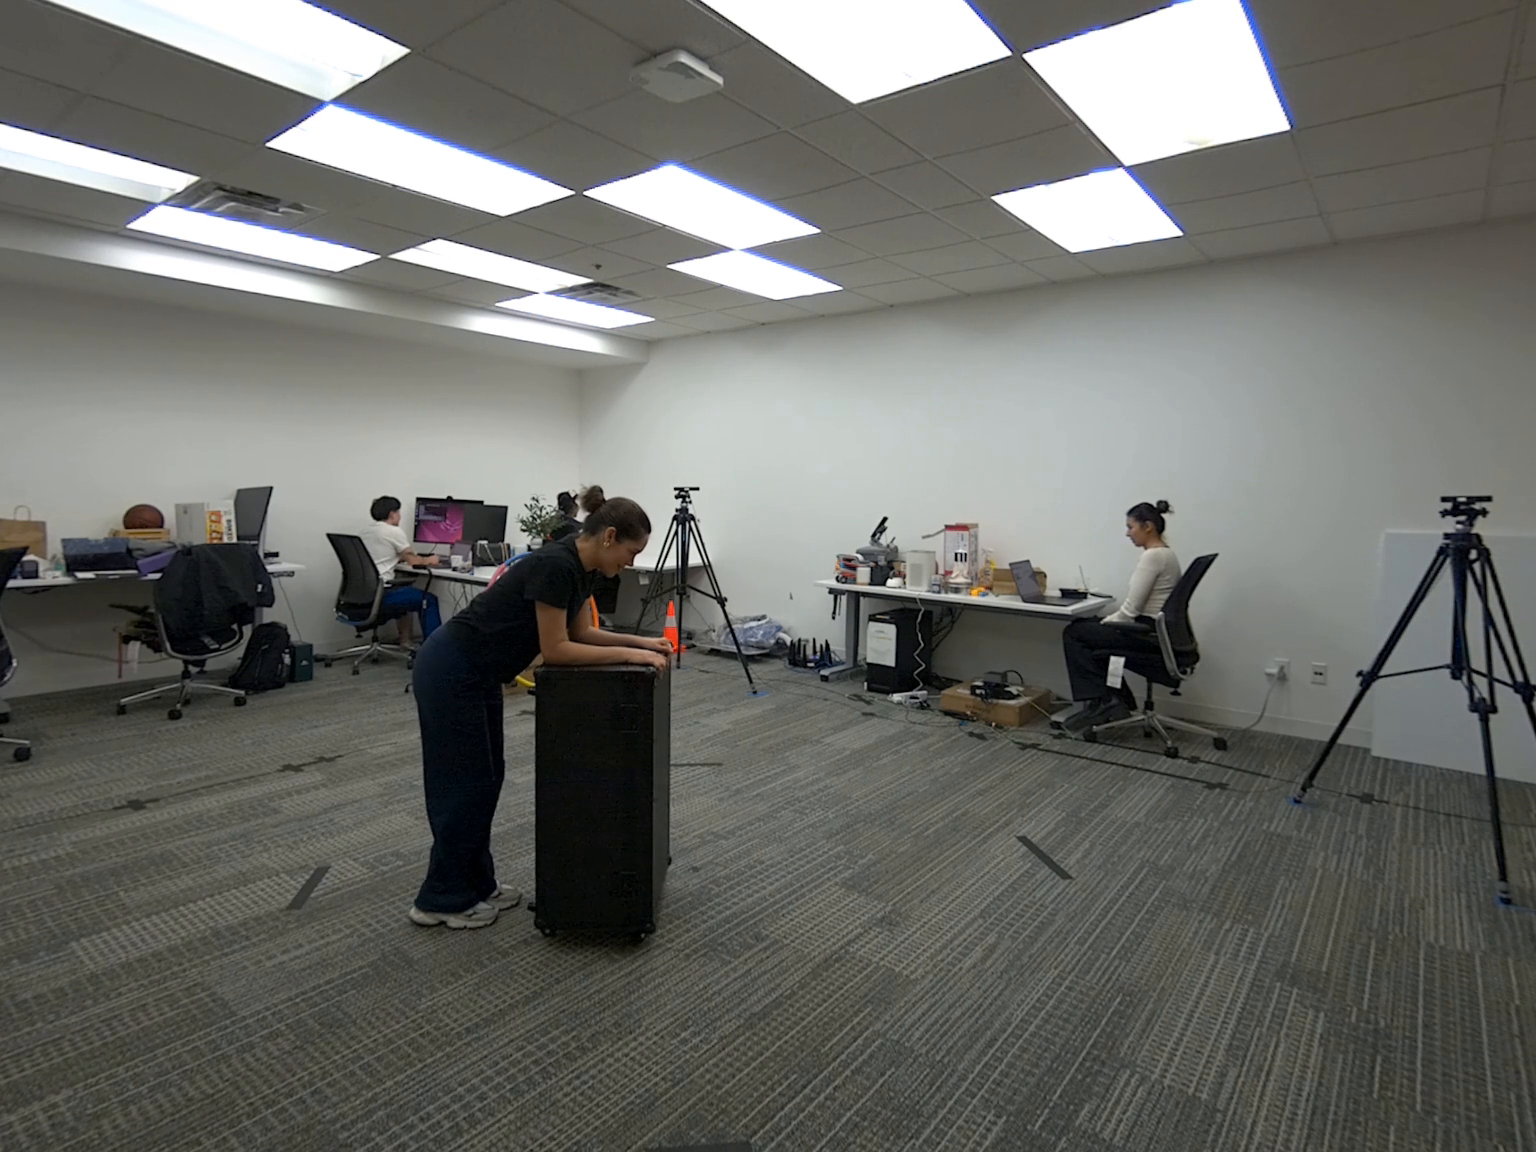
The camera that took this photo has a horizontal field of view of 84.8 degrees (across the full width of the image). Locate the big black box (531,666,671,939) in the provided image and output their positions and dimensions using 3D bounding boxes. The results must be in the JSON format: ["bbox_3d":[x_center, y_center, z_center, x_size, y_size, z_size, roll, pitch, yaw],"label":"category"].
[{"bbox_3d":[-0.517,0.608,2.755,0.397,0.859,0.522,2,4,1],"label":"big black box"}]
